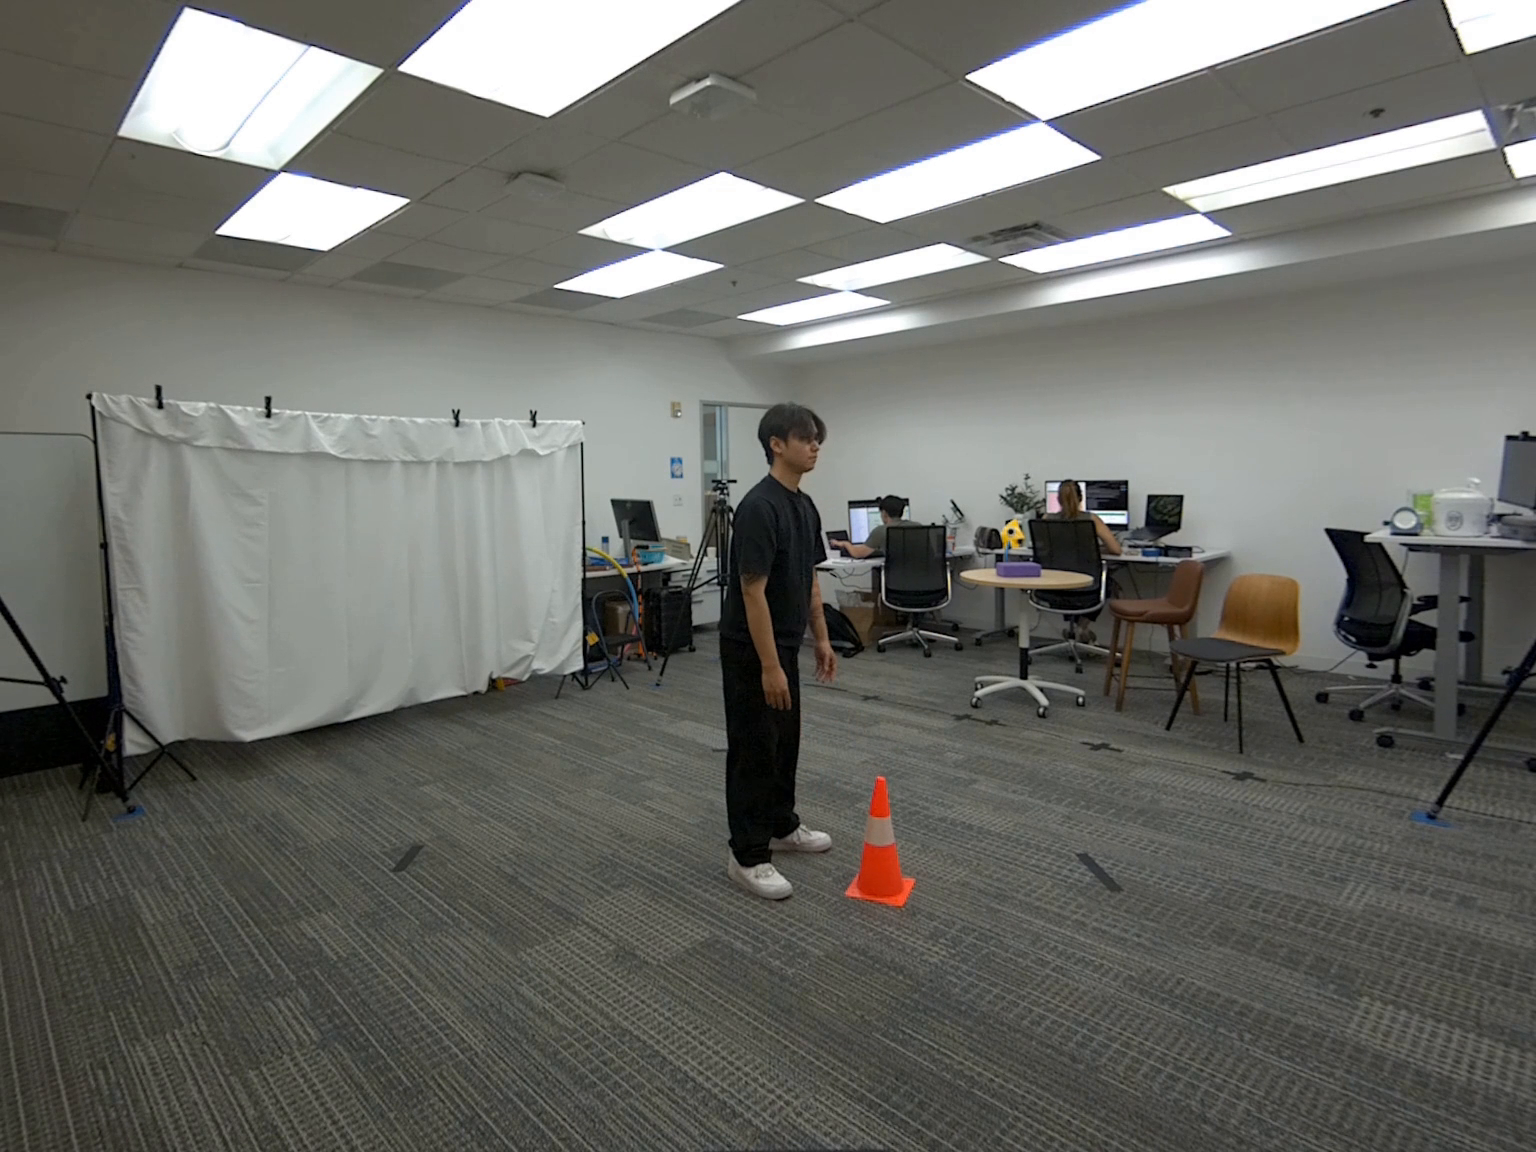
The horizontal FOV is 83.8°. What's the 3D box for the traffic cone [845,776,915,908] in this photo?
[{"bbox_3d":[0.382,0.874,2.899,0.210,0.382,0.199,1,4,26],"label":"traffic cone"}]
